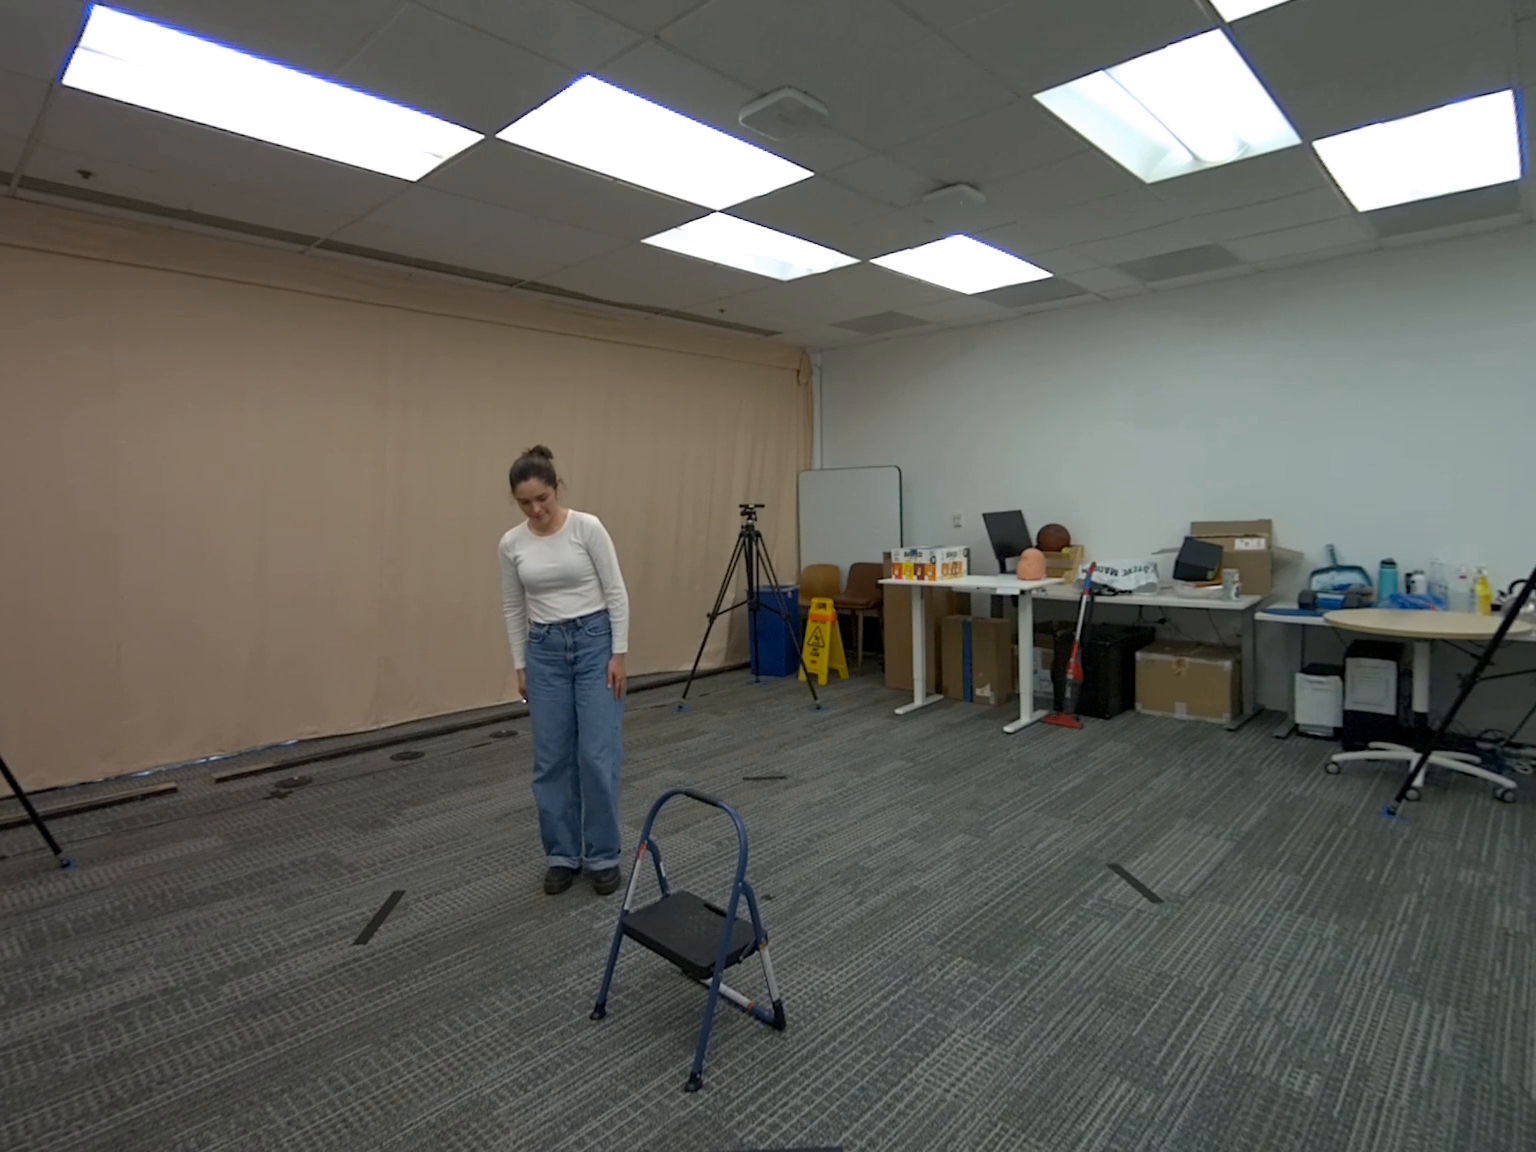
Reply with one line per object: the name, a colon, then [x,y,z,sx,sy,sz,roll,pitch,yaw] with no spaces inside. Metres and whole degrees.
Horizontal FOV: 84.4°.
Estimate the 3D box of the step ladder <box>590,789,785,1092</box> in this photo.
step ladder: [-0.217,0.905,2.249,0.445,0.604,0.339,3,6,44]
